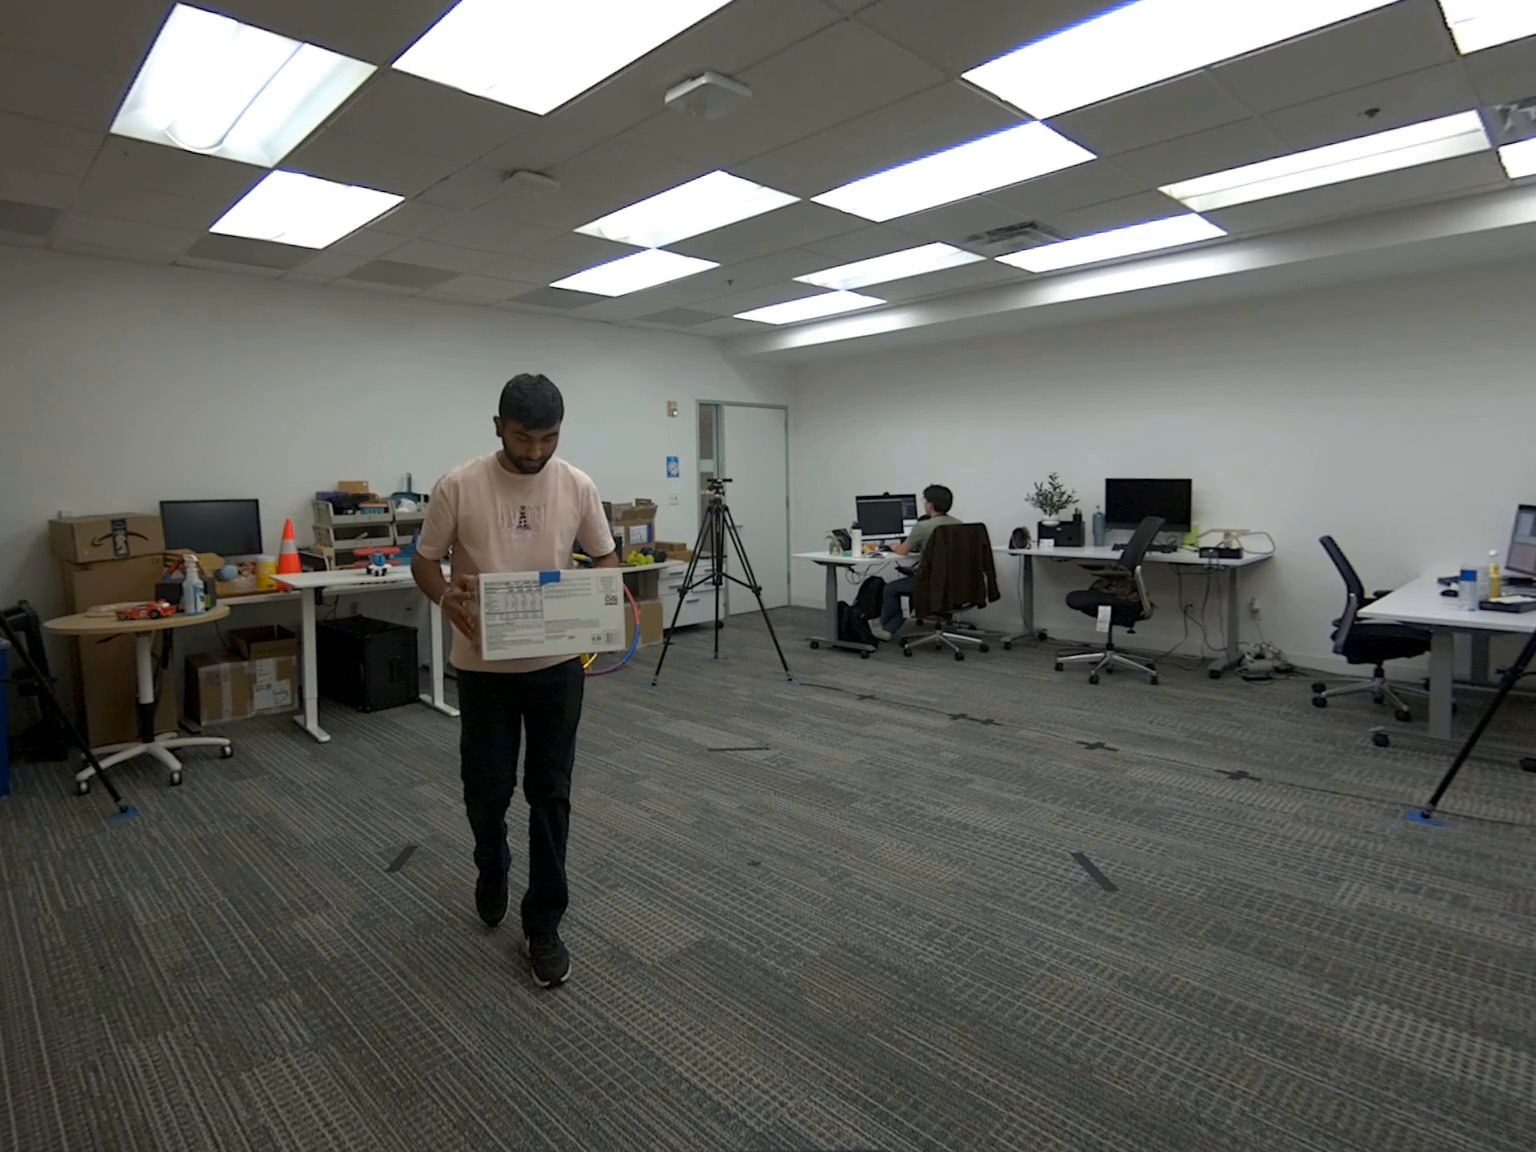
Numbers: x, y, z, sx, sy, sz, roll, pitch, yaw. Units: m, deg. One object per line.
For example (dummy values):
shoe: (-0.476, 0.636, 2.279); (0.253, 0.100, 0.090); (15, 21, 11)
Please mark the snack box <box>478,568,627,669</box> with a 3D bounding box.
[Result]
snack box: (-0.583, 0.105, 2.192); (0.334, 0.206, 0.412); (-3, -2, -23)
